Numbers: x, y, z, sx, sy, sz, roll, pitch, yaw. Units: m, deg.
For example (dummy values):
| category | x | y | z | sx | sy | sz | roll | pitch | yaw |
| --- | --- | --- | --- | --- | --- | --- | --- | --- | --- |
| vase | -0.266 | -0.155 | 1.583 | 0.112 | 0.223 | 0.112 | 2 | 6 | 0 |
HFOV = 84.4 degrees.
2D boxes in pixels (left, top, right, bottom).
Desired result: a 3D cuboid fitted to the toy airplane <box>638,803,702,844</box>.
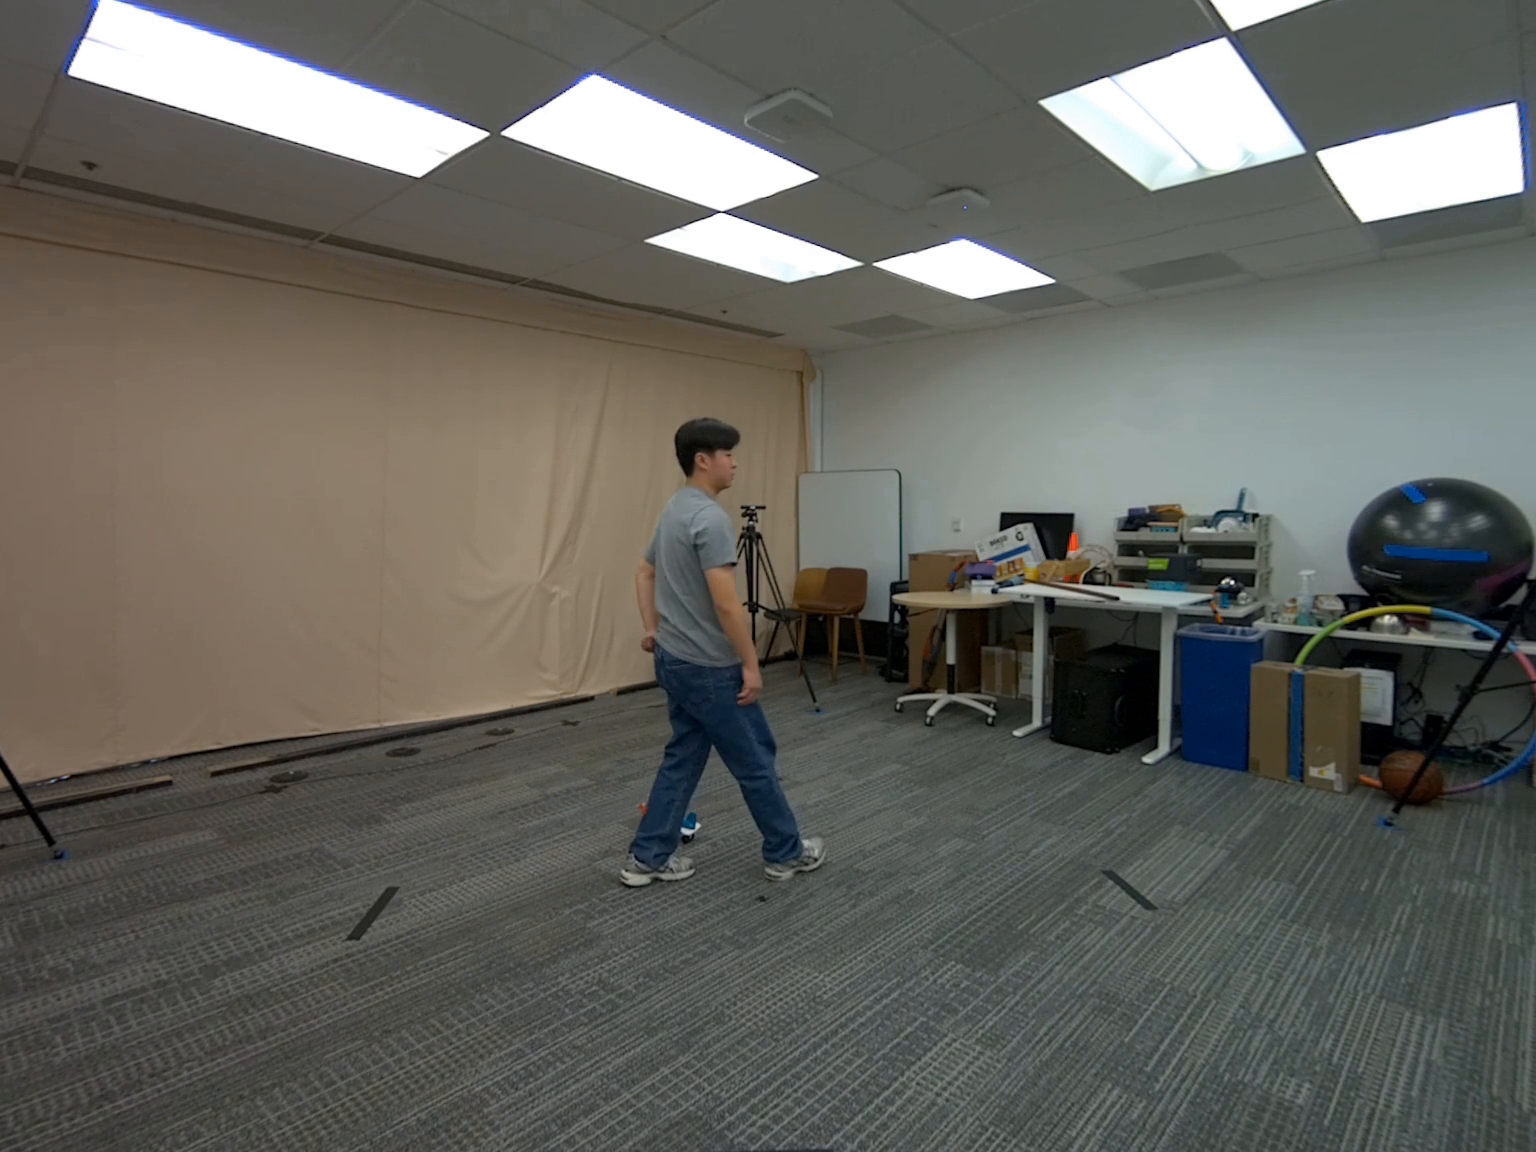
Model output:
| category | x | y | z | sx | sy | sz | roll | pitch | yaw |
| --- | --- | --- | --- | --- | --- | --- | --- | --- | --- |
| toy airplane | -0.414 | 1.027 | 3.545 | 0.258 | 0.156 | 0.253 | -2 | 4 | -5 |
